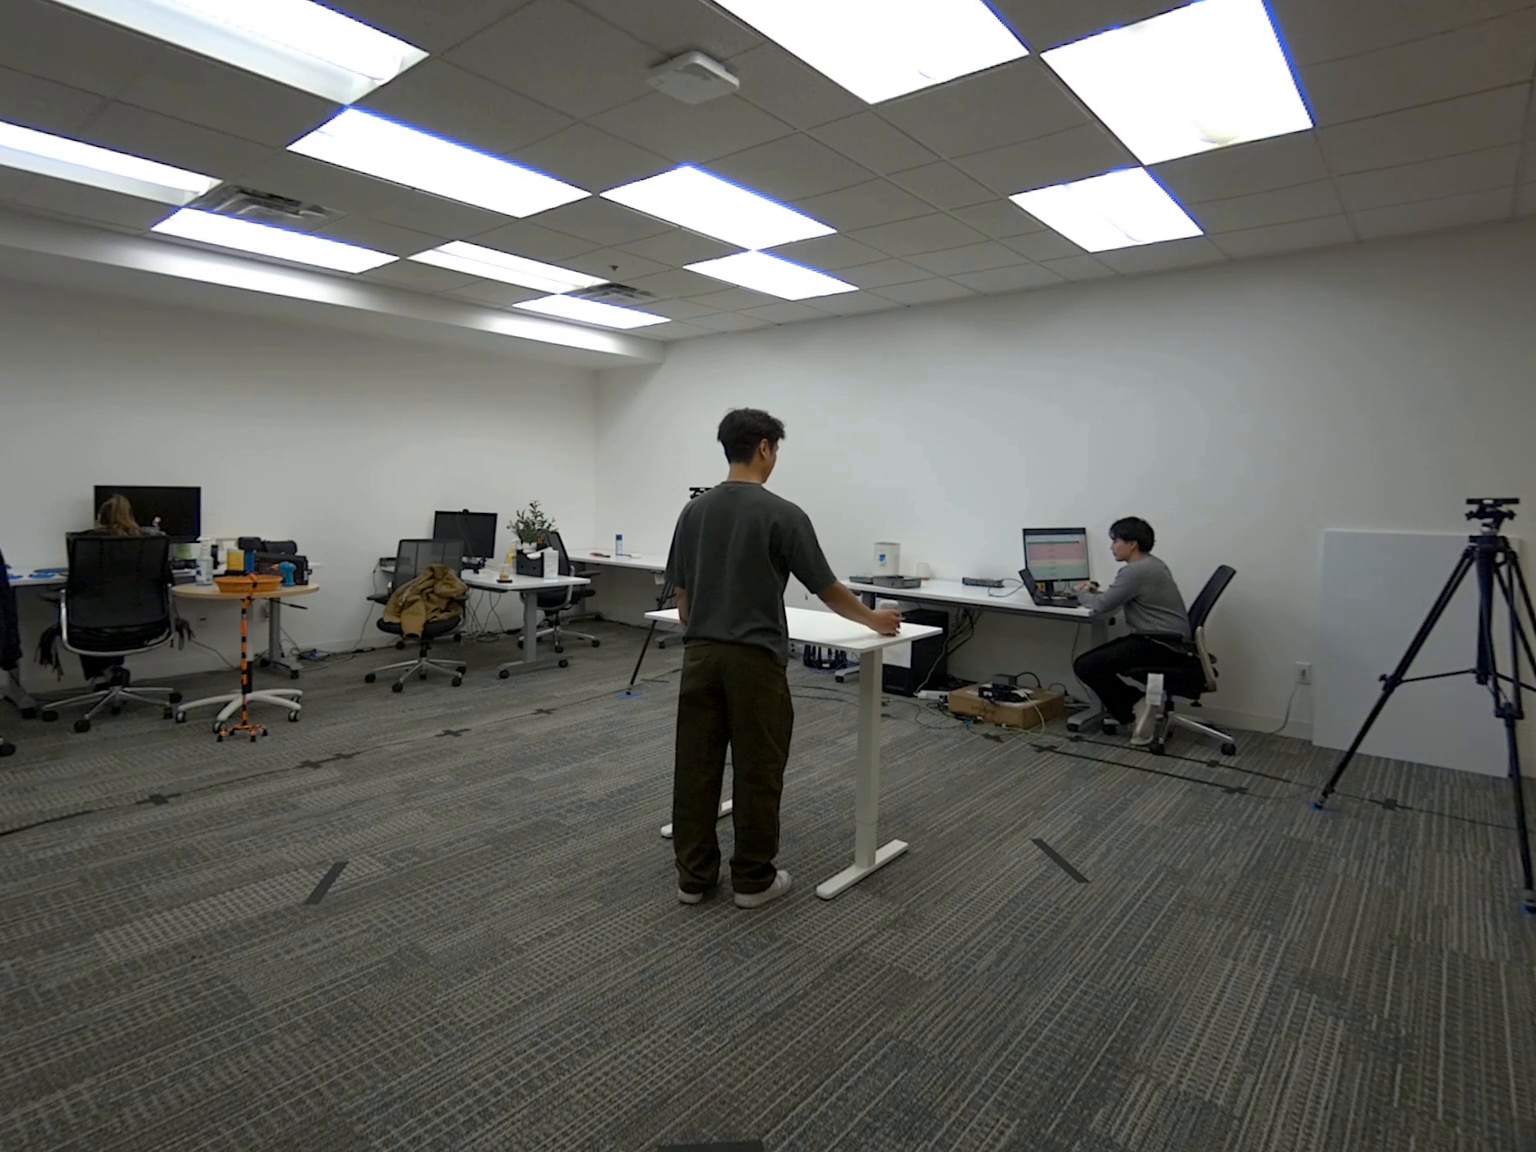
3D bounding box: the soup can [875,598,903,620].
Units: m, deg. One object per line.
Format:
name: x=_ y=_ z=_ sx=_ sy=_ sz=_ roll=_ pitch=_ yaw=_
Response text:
soup can: x=0.424 y=0.138 z=3.035 sx=0.067 sy=0.121 sz=0.067 roll=4 pitch=6 yaw=-2
